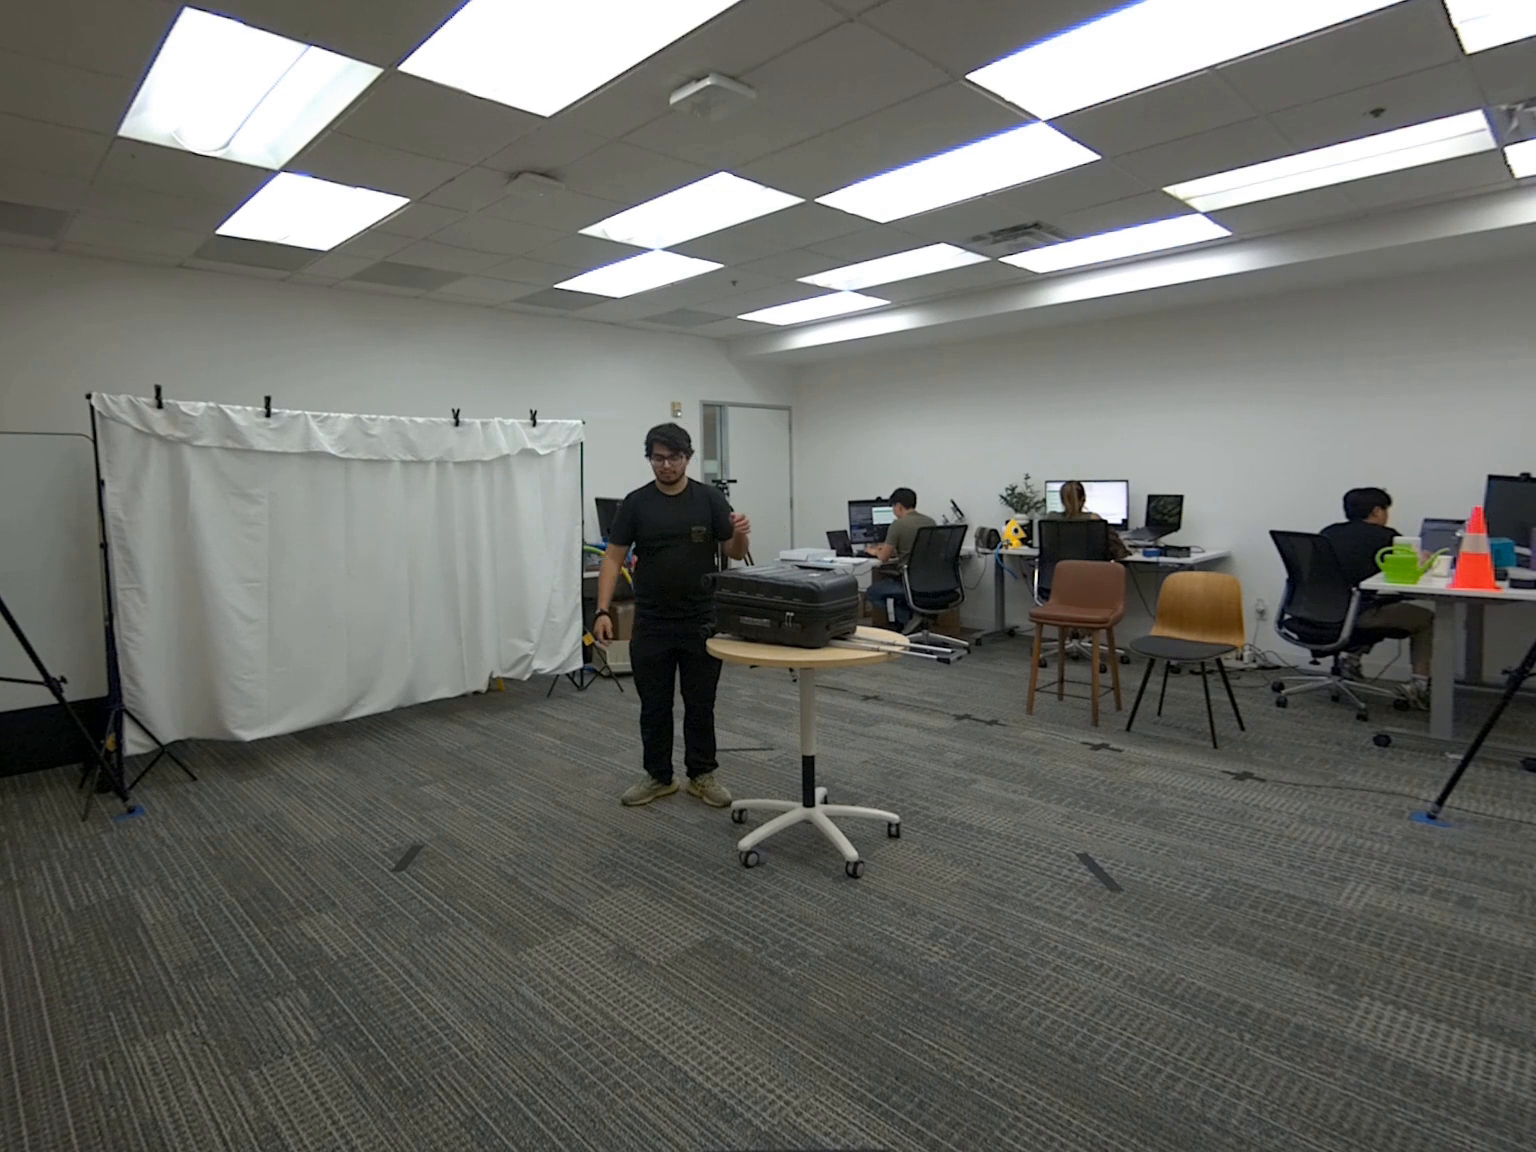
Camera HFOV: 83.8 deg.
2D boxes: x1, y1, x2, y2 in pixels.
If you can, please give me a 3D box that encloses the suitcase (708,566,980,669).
[{"bbox_3d":[0.231,0.126,3.170,1.007,0.256,0.374,3,5,36],"label":"suitcase"}]
